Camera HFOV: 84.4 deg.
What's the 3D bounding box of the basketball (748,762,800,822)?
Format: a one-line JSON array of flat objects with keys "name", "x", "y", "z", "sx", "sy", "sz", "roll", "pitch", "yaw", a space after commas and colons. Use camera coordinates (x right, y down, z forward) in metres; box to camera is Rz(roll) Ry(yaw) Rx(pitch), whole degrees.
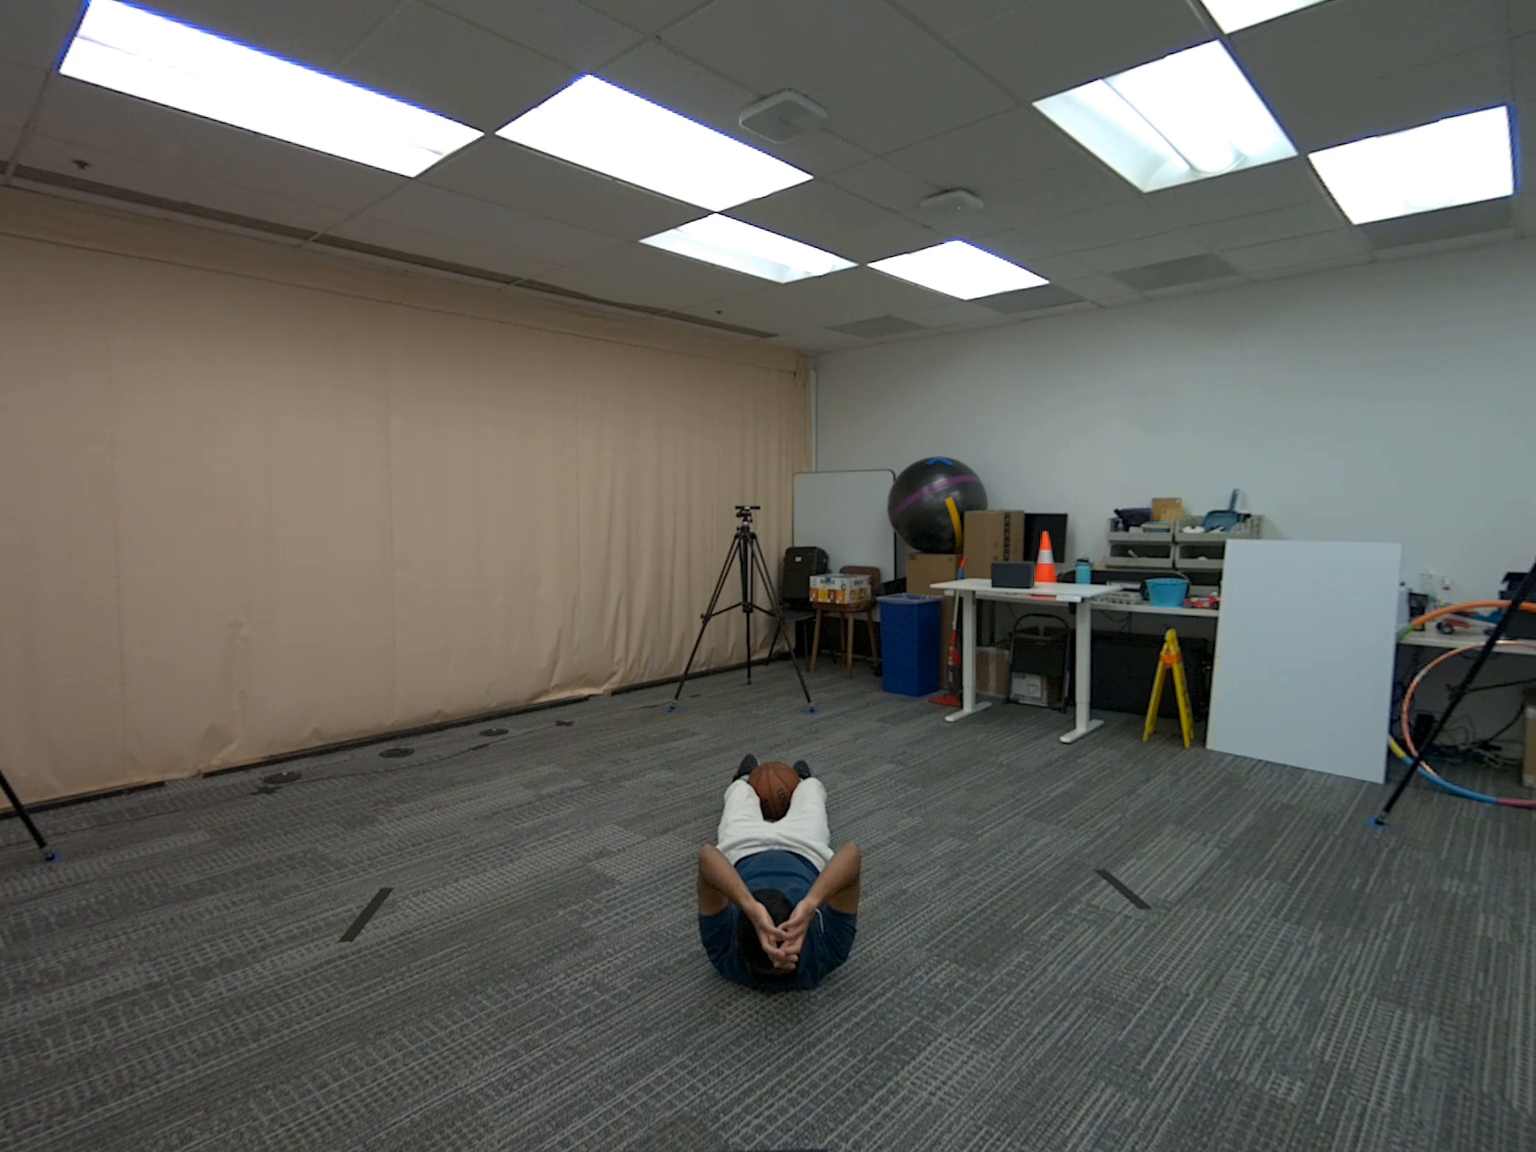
[{"name": "basketball", "x": 0.023, "y": 0.901, "z": 3.559, "sx": 0.236, "sy": 0.235, "sz": 0.237, "roll": 0, "pitch": 4, "yaw": -2}]
